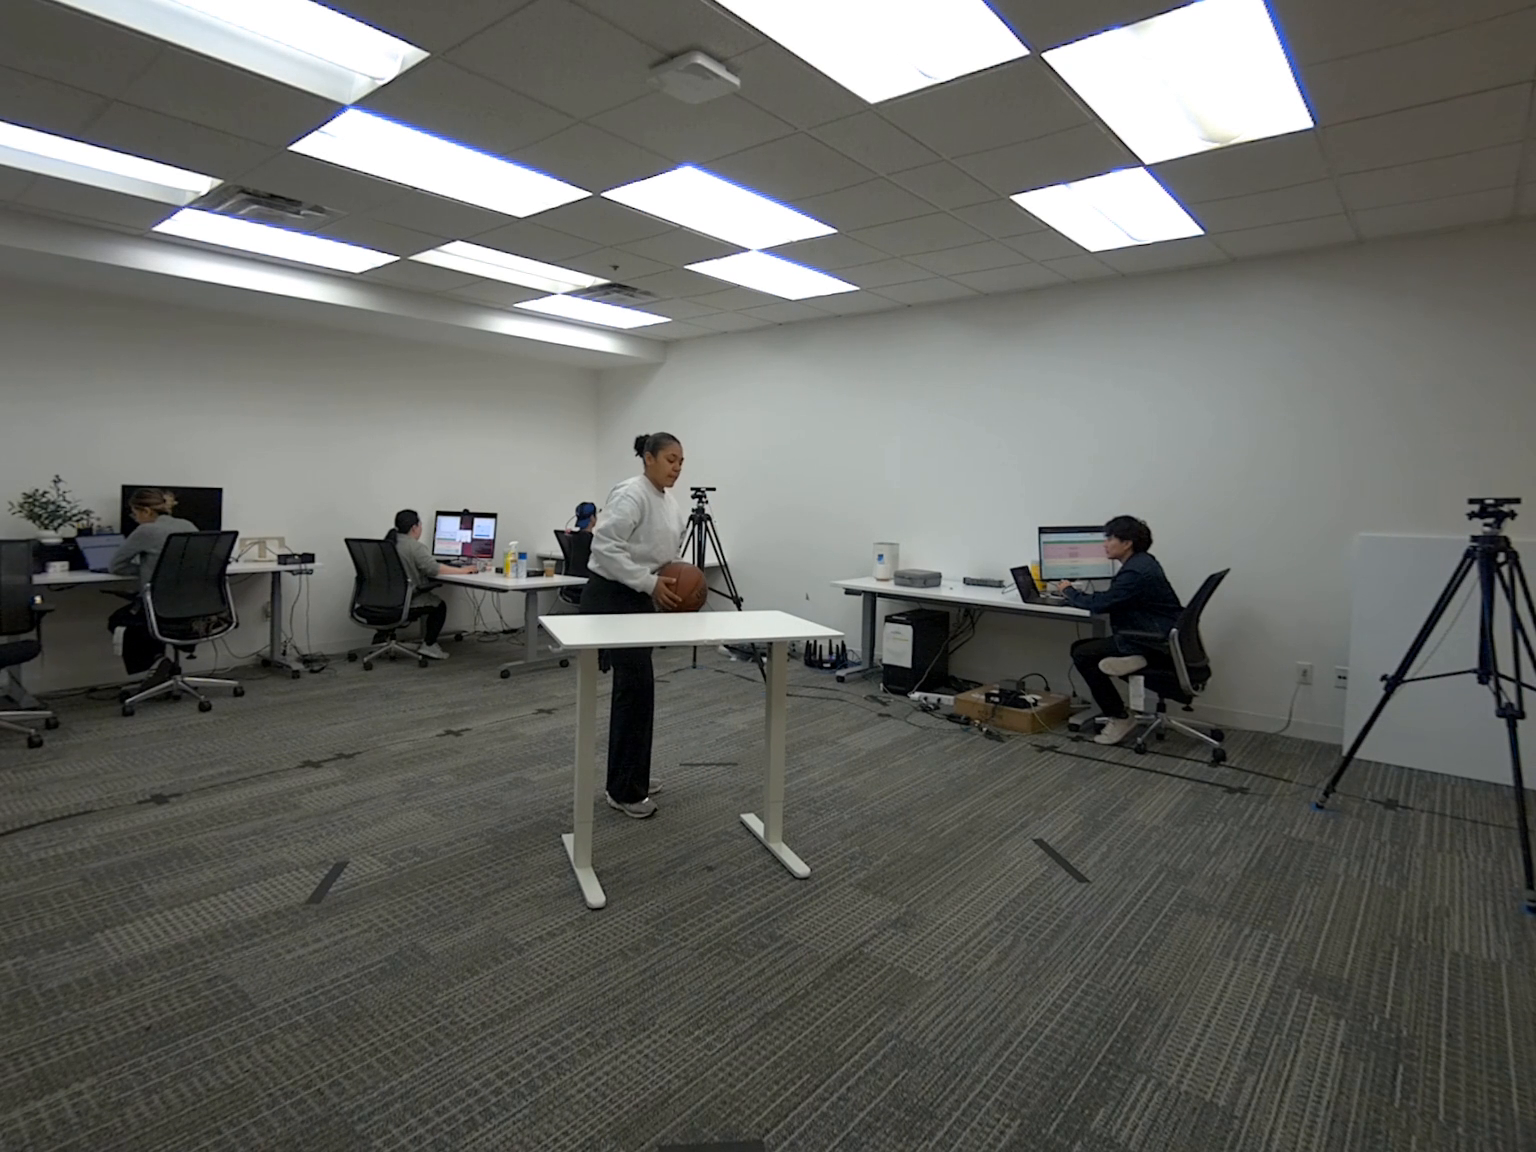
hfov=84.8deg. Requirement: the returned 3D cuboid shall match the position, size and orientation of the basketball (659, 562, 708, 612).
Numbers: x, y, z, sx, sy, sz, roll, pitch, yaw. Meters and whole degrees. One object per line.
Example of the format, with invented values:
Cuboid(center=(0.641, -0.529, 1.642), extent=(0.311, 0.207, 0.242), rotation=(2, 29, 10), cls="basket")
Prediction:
Cuboid(center=(-0.392, 0.058, 3.645), extent=(0.235, 0.235, 0.237), rotation=(1, 4, -2), cls="basketball")
